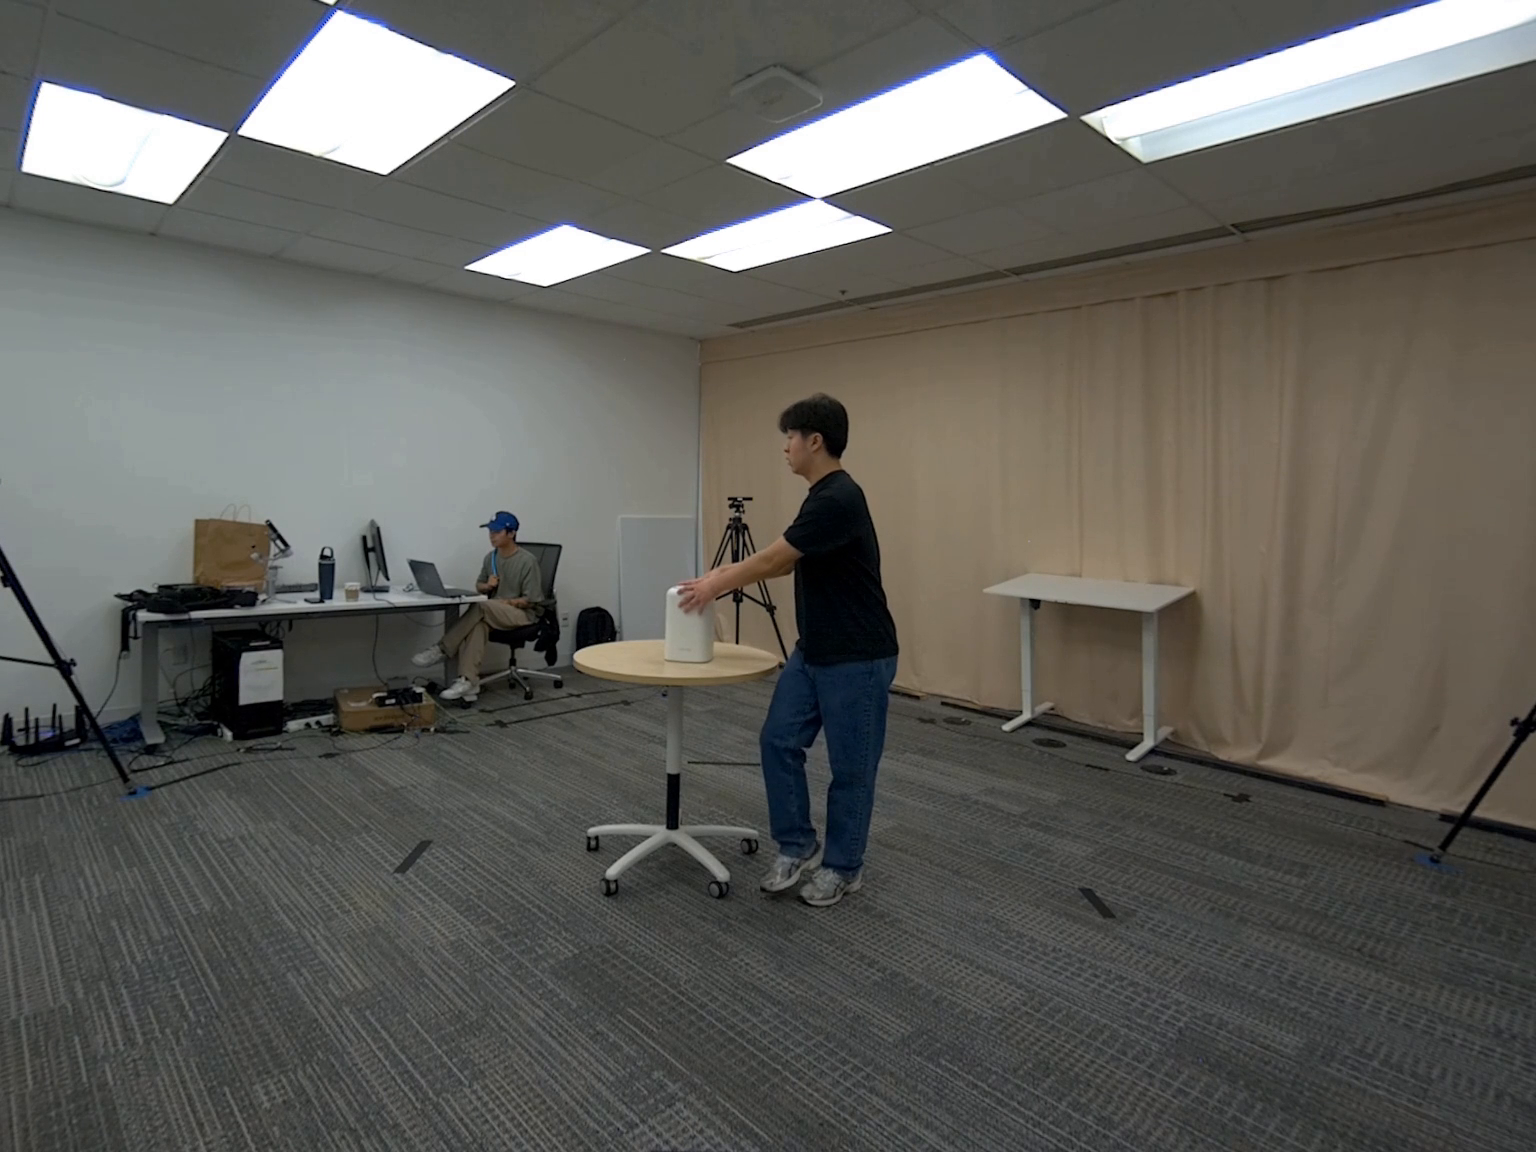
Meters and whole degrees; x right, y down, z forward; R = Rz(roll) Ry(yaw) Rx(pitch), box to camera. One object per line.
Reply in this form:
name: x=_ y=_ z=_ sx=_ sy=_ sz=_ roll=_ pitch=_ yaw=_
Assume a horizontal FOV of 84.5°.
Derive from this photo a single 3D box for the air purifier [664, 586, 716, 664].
air purifier: x=-0.288 y=0.175 z=3.112 sx=0.172 sy=0.264 sz=0.171 roll=2 pitch=5 yaw=8
